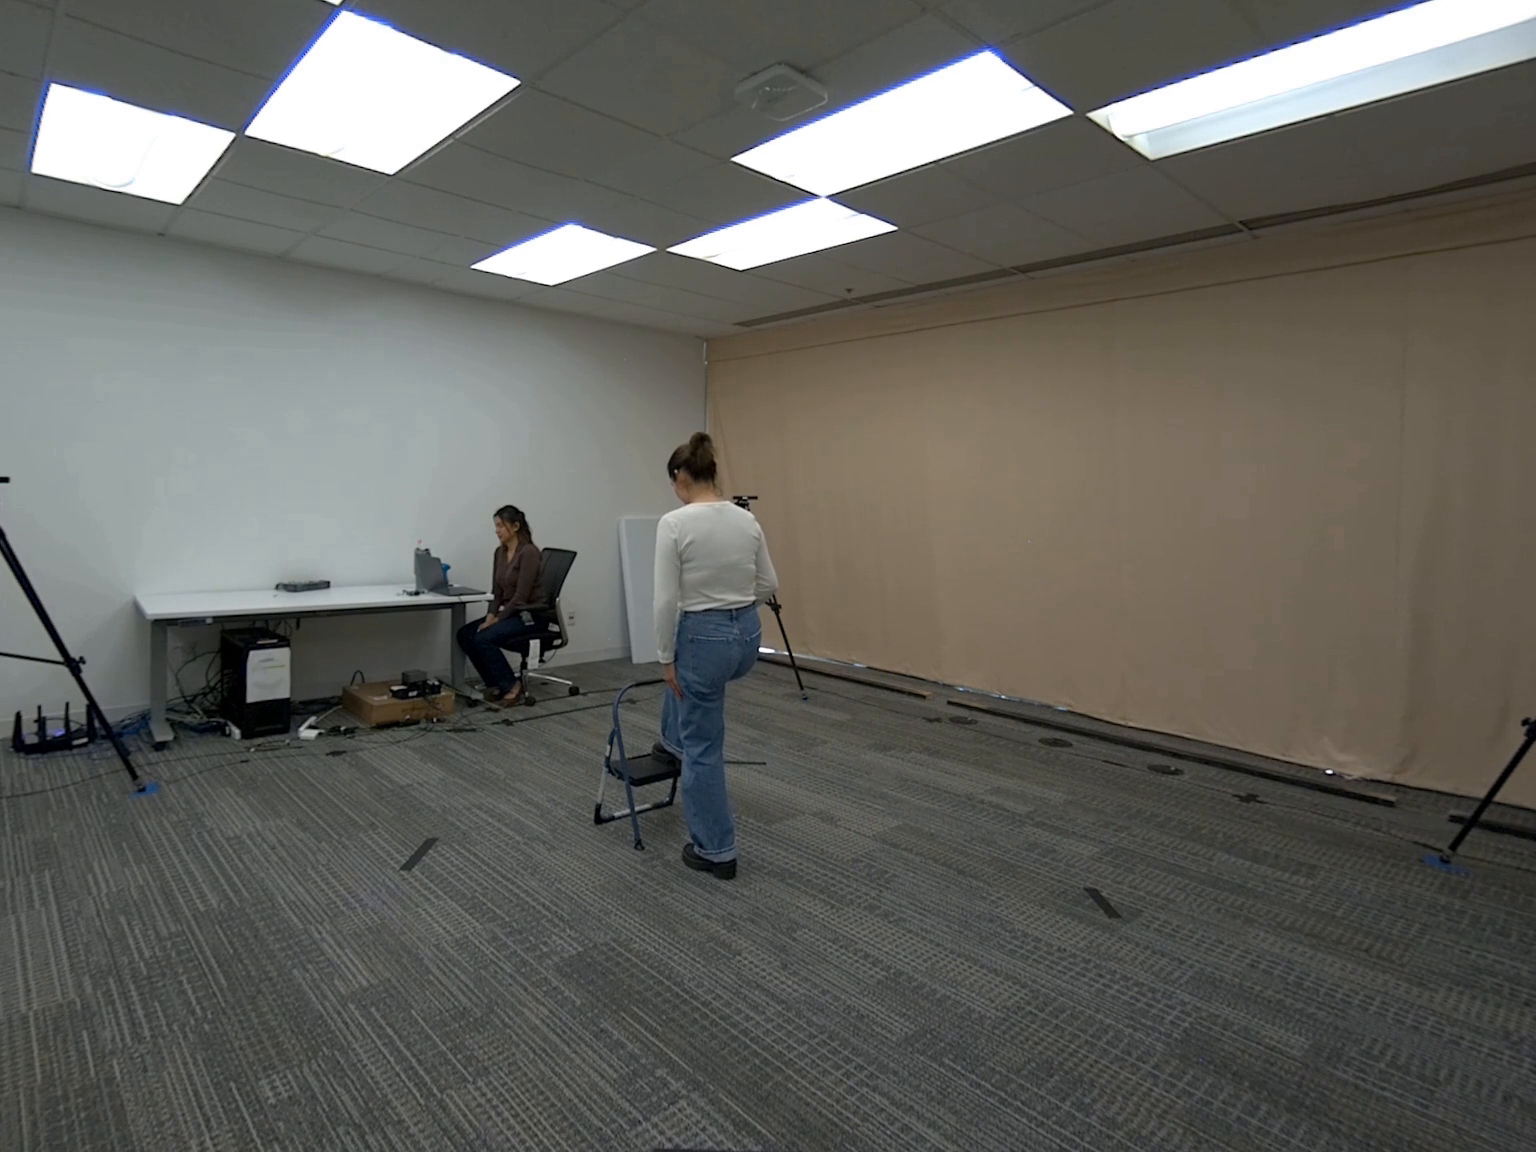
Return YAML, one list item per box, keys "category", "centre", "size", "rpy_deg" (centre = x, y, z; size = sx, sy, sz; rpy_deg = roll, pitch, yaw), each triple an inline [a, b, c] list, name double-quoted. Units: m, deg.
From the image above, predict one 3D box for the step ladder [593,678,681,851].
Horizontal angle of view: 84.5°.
- category: "step ladder"
  centre: [-0.473, 0.755, 3.553]
  size: [0.420, 0.605, 0.358]
  rpy_deg: [-1, 4, -44]
